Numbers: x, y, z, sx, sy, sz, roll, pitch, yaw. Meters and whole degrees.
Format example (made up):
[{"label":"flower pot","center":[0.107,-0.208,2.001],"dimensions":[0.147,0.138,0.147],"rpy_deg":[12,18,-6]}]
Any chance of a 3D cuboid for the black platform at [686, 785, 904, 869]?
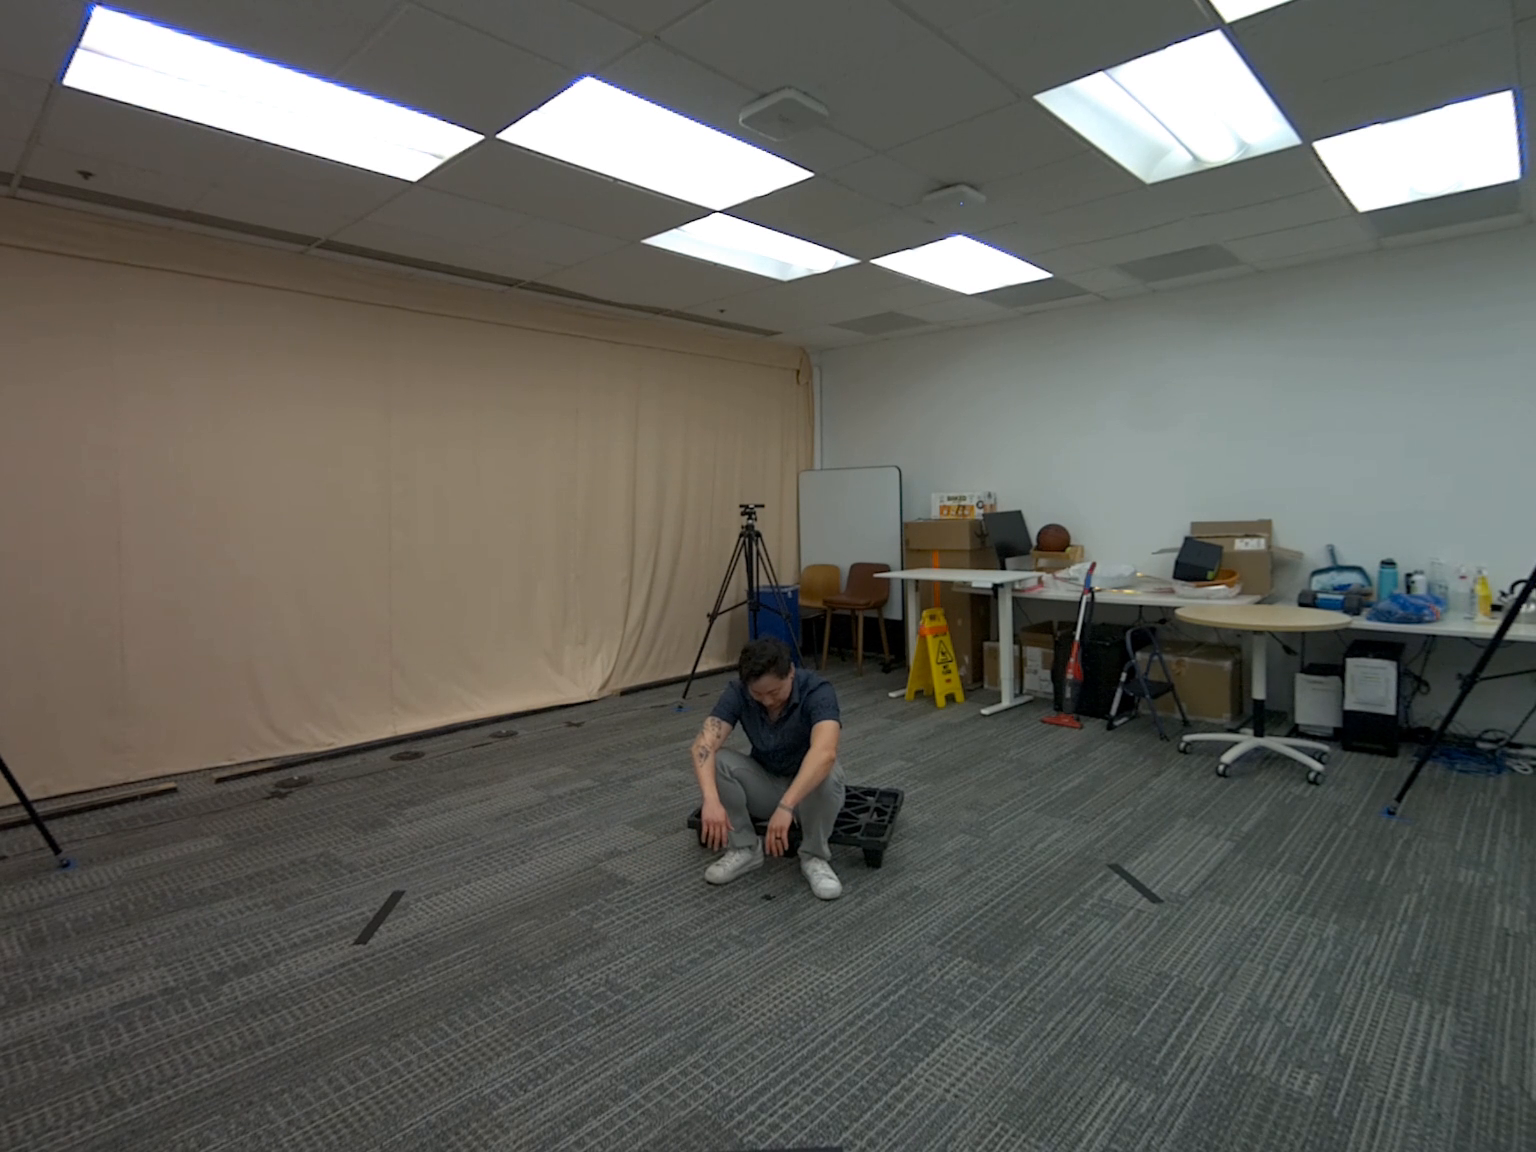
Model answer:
[{"label":"black platform","center":[0.141,1.023,3.530],"dimensions":[0.821,0.143,0.595],"rpy_deg":[0,5,17]}]
